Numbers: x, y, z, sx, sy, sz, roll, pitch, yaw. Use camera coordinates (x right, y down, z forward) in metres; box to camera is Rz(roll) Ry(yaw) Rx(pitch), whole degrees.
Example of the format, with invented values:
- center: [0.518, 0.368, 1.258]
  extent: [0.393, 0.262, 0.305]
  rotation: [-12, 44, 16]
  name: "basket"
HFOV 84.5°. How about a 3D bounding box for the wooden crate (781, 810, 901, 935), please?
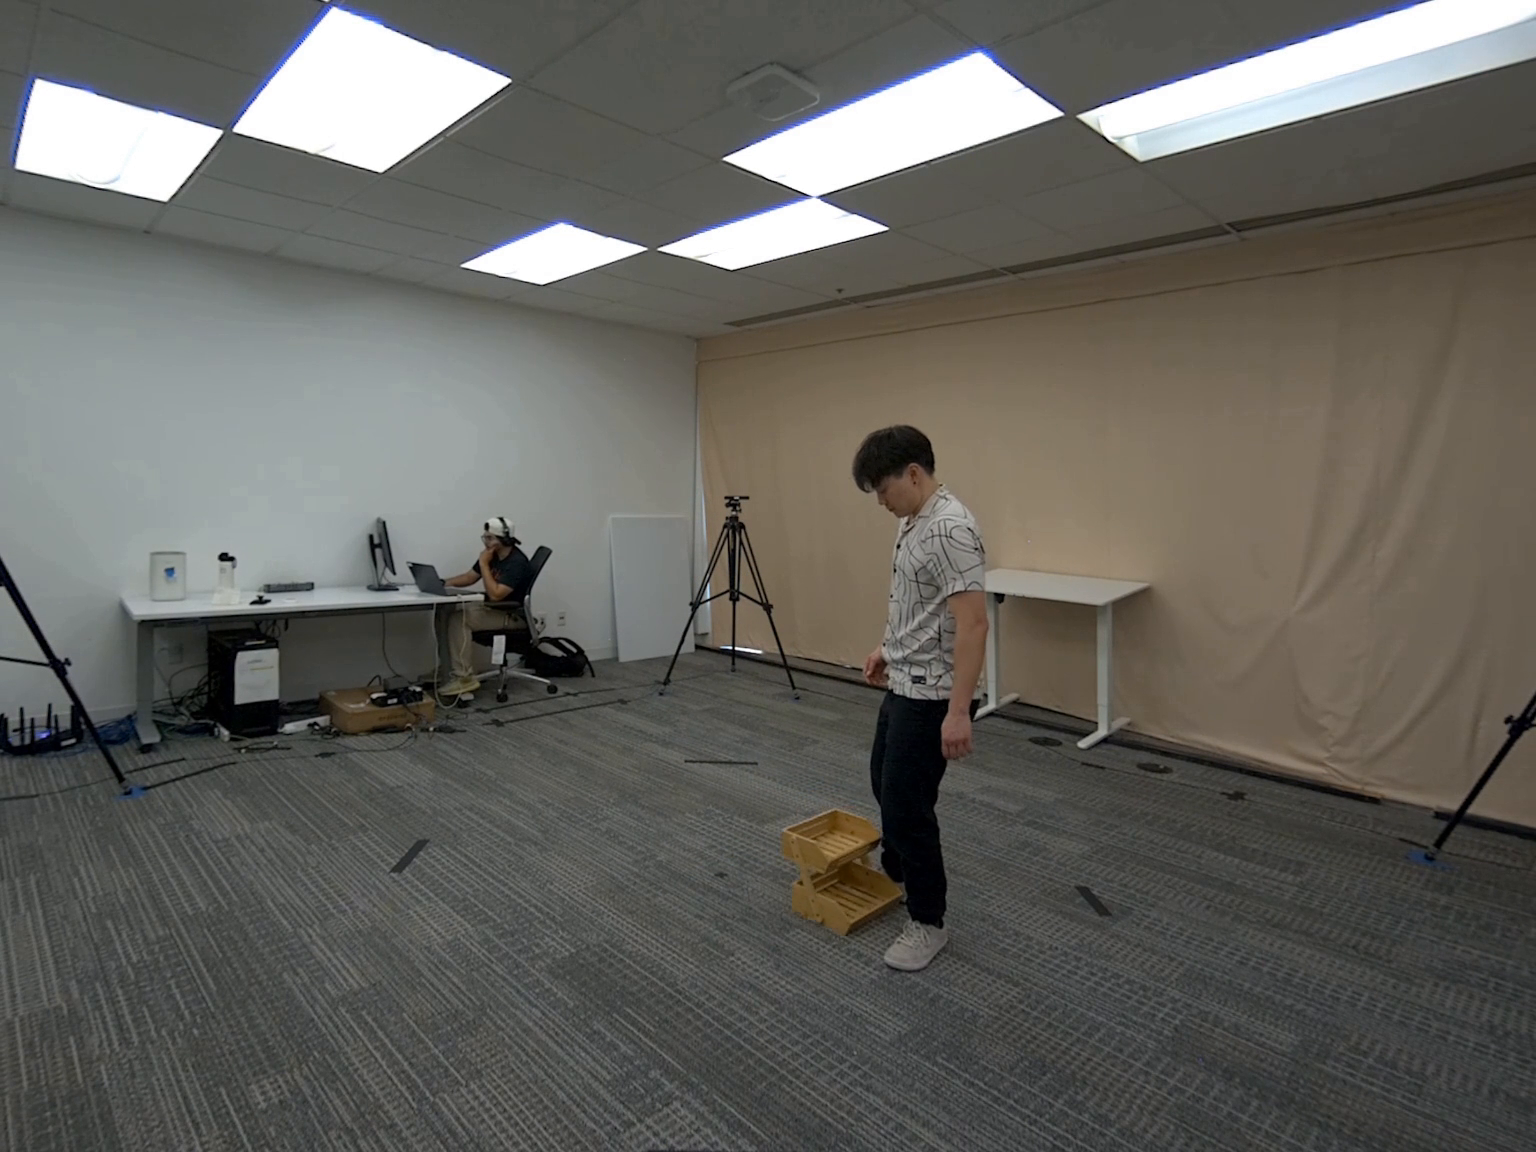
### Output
- center: [0.248, 0.999, 2.879]
  extent: [0.310, 0.273, 0.317]
  rotation: [4, 5, 42]
  name: "wooden crate"
